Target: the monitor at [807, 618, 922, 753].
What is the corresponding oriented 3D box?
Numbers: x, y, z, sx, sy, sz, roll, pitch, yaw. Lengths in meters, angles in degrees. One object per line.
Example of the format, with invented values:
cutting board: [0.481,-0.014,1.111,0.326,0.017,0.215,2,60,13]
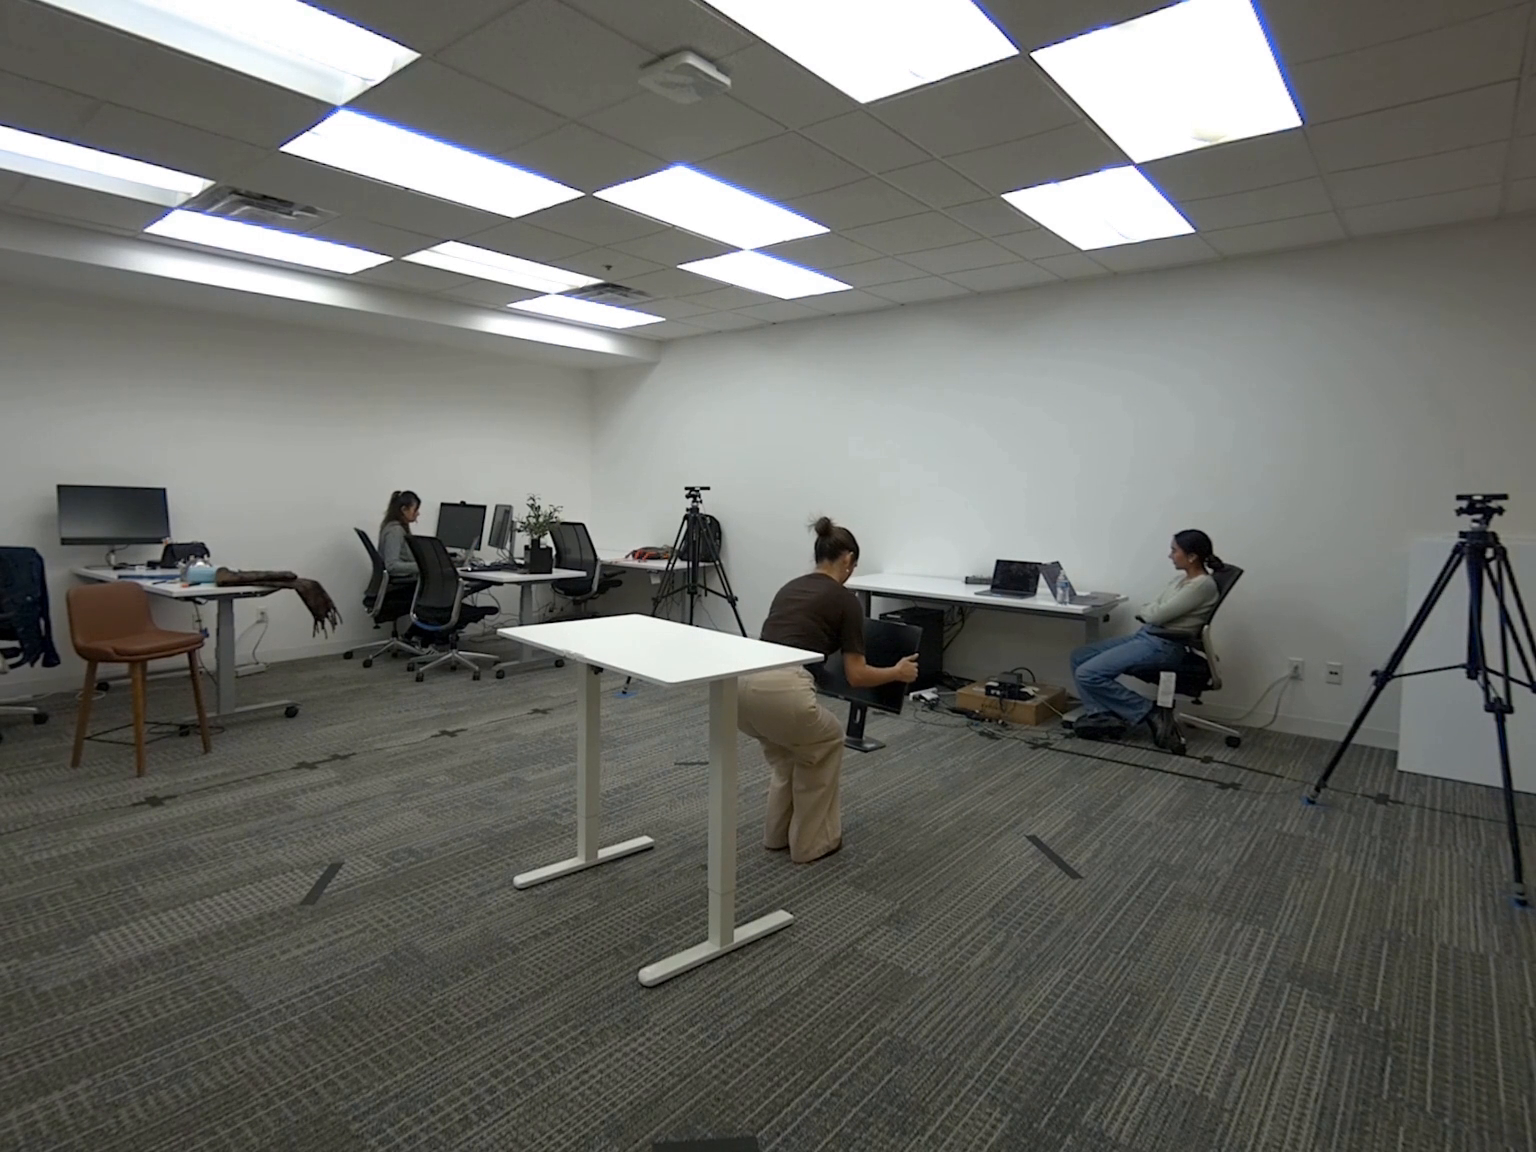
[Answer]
monitor: [0.363,0.435,3.532,0.558,0.522,0.181,7,1,40]
